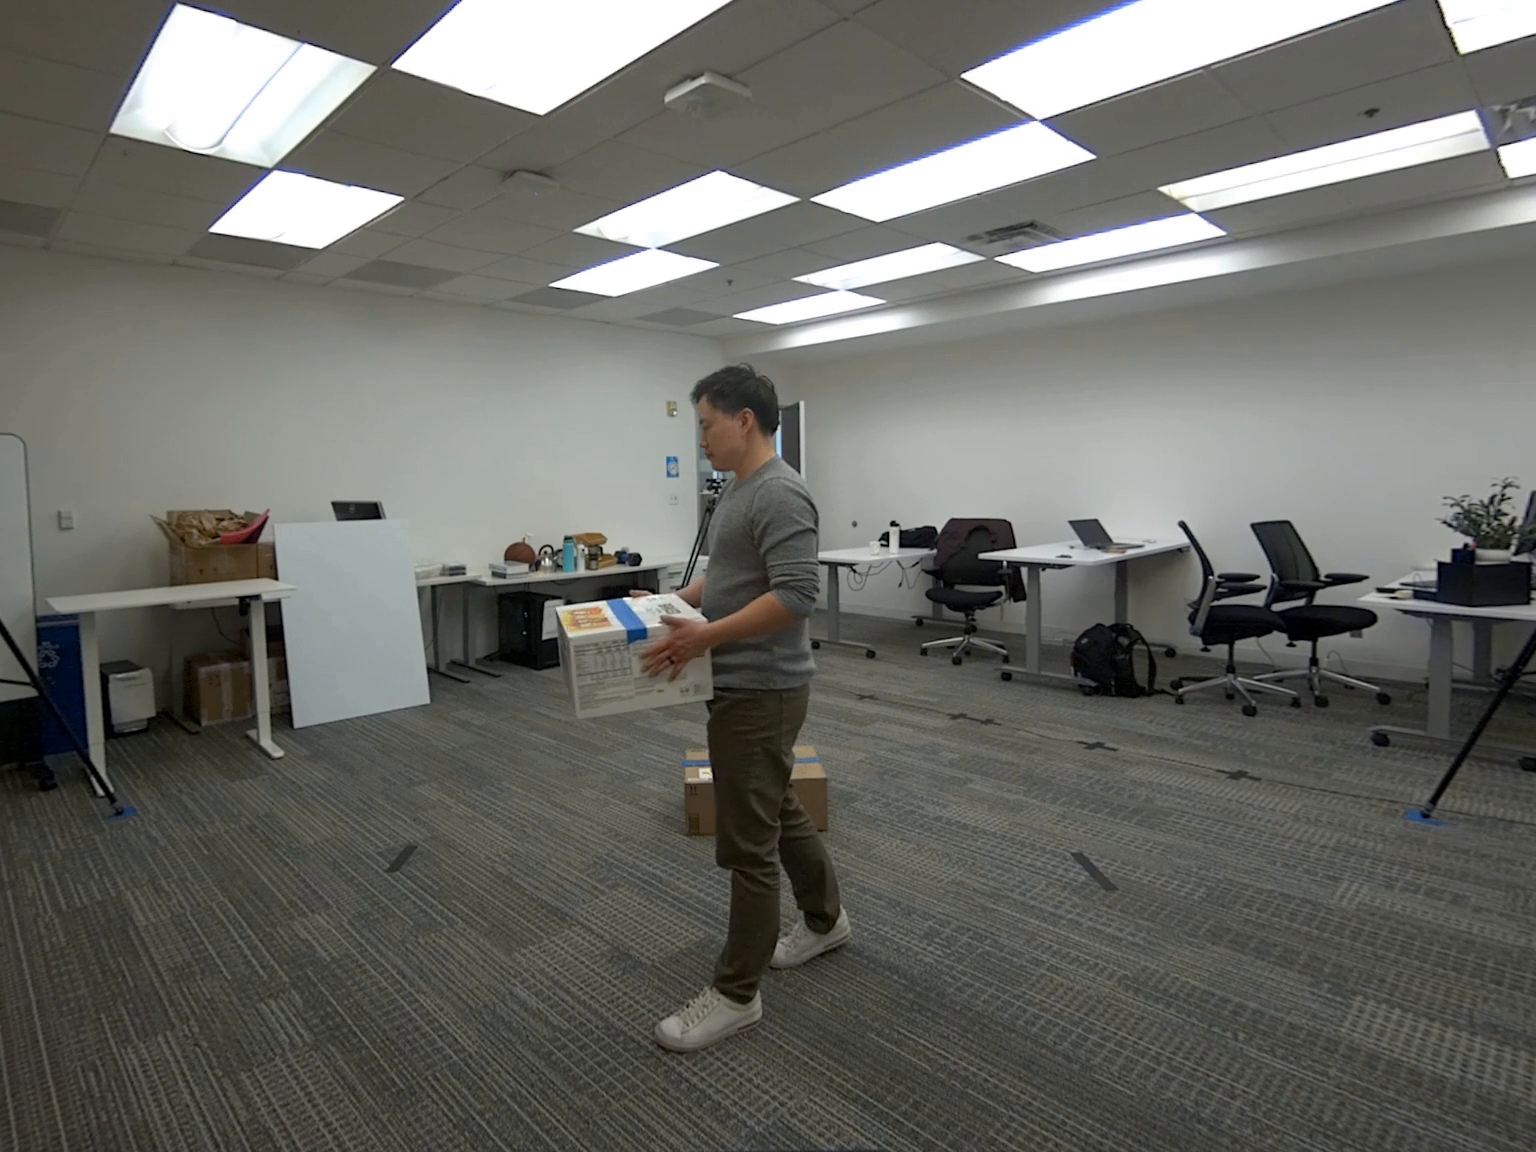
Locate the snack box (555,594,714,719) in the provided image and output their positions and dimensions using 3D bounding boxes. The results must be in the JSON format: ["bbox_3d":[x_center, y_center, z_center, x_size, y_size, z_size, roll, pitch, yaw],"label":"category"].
[{"bbox_3d":[-0.358,0.195,2.233,0.336,0.204,0.414,-6,10,-16],"label":"snack box"}]
